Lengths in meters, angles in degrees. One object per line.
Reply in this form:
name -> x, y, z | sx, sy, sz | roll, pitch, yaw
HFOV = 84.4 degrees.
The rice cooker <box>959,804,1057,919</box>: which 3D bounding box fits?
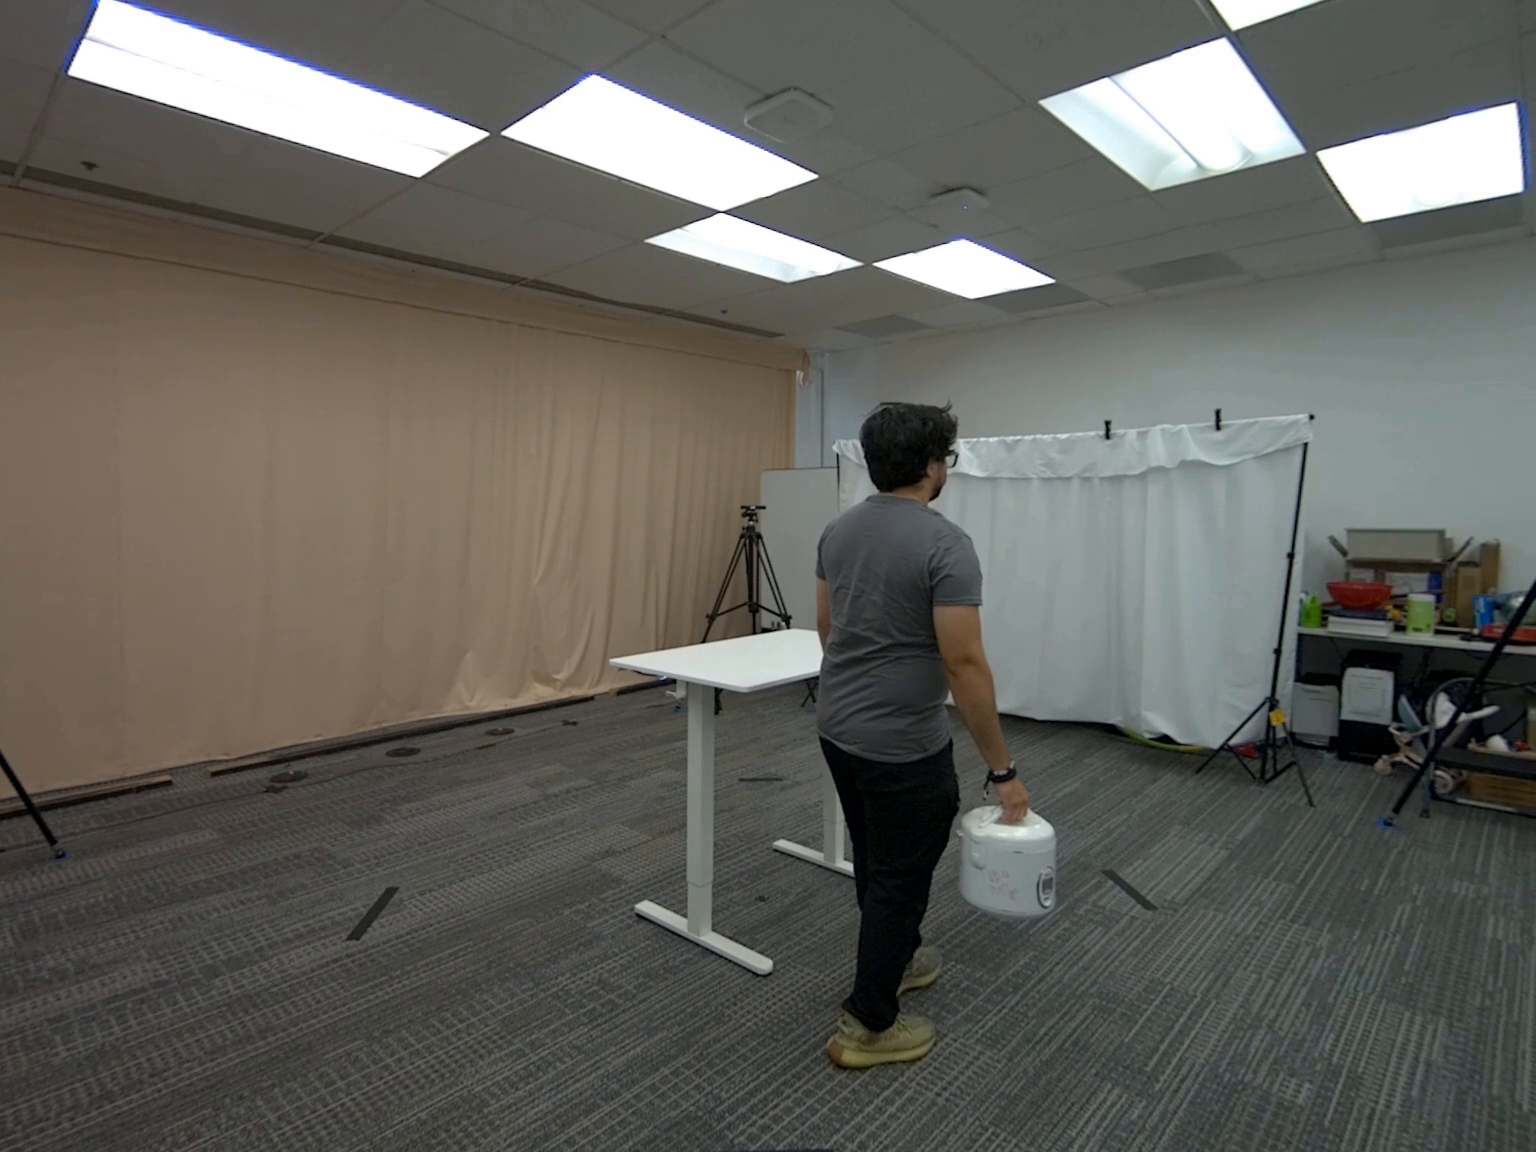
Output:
rice cooker -> 0.560, 0.644, 1.940 | 0.214, 0.233, 0.224 | 0, 0, -35
